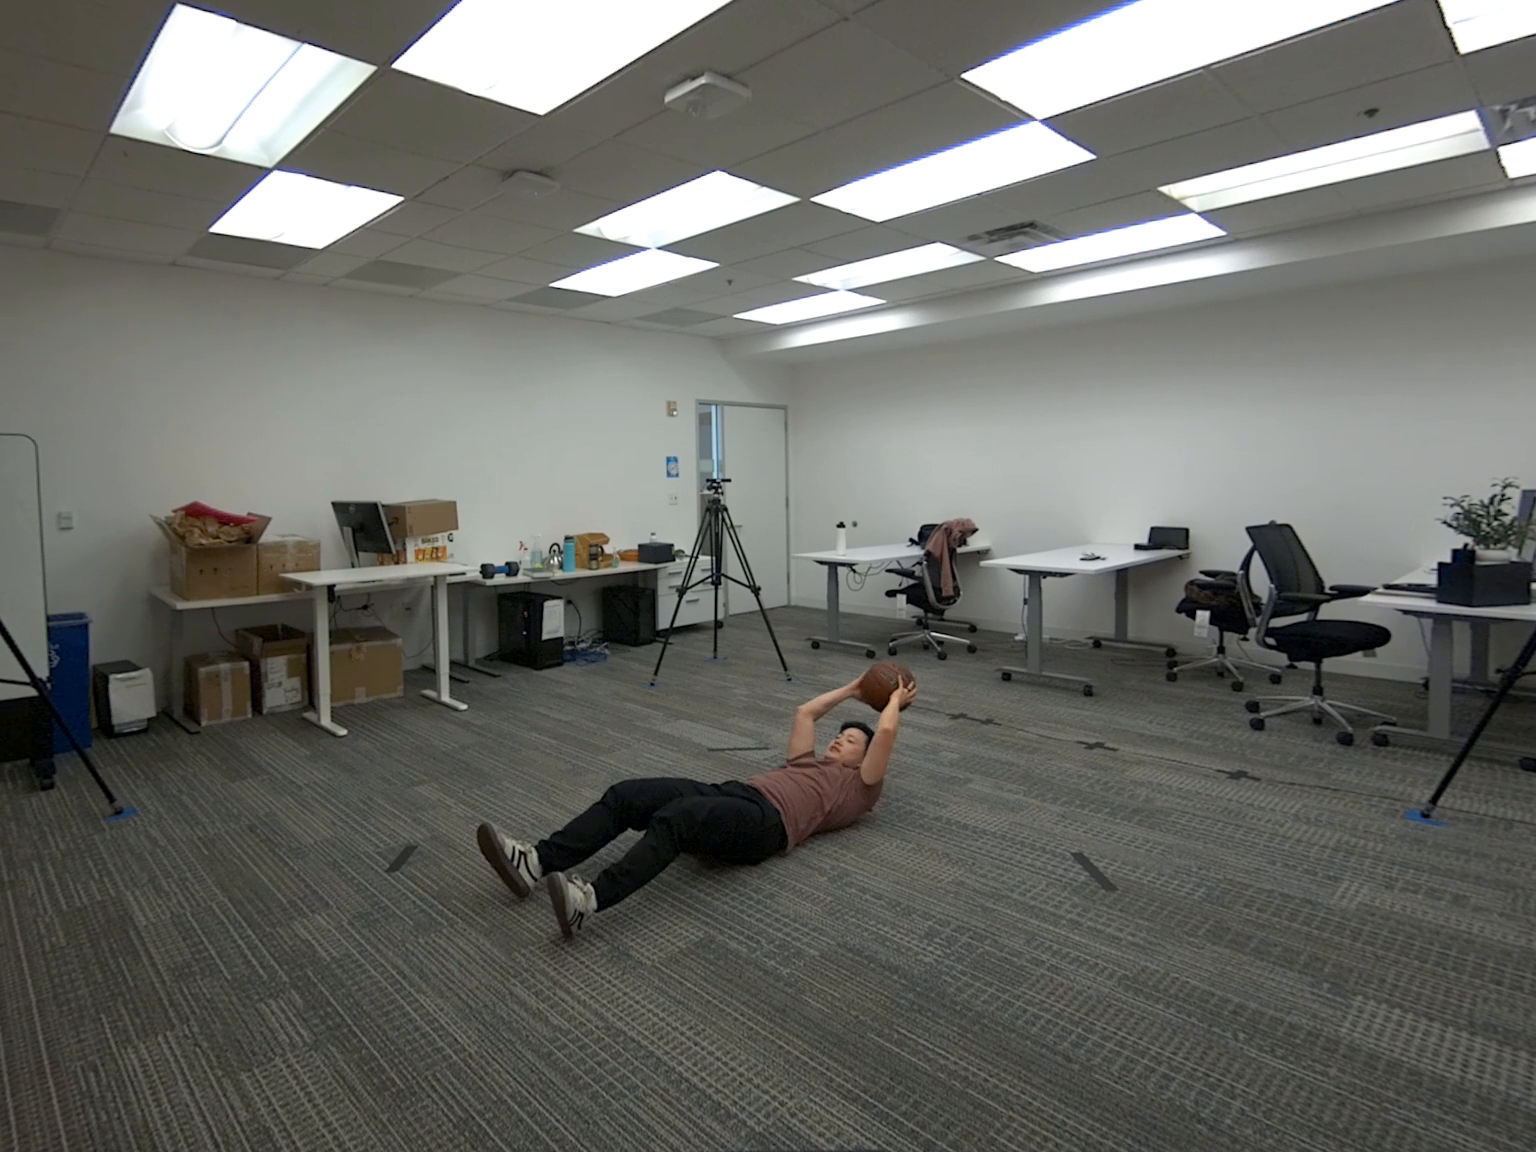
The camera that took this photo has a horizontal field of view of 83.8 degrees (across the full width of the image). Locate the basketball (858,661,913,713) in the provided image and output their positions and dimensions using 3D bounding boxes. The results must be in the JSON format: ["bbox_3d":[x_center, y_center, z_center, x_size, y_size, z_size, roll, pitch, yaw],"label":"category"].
[{"bbox_3d":[0.532,0.497,3.798,0.236,0.235,0.237,-2,5,-2],"label":"basketball"}]
